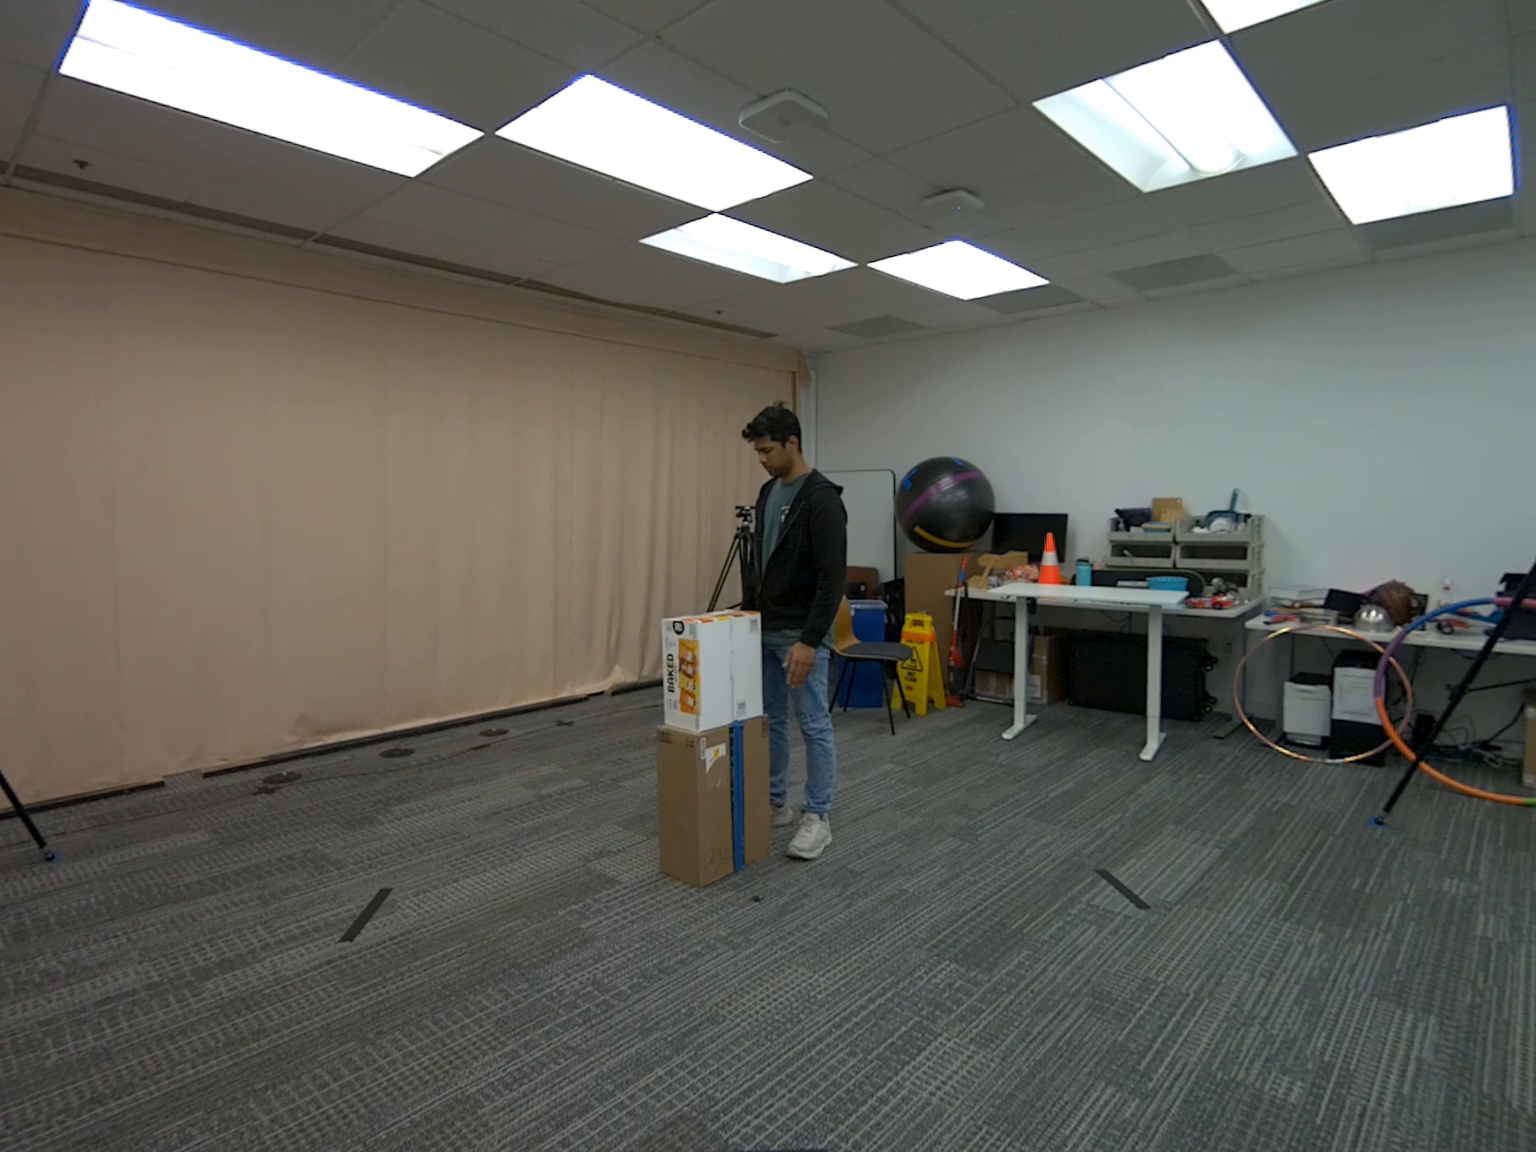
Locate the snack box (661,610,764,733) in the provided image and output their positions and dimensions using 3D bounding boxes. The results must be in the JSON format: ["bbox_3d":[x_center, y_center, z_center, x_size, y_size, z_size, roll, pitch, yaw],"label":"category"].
[{"bbox_3d":[-0.207,0.353,3.251,0.330,0.404,0.212,-4,3,-44],"label":"snack box"}]
